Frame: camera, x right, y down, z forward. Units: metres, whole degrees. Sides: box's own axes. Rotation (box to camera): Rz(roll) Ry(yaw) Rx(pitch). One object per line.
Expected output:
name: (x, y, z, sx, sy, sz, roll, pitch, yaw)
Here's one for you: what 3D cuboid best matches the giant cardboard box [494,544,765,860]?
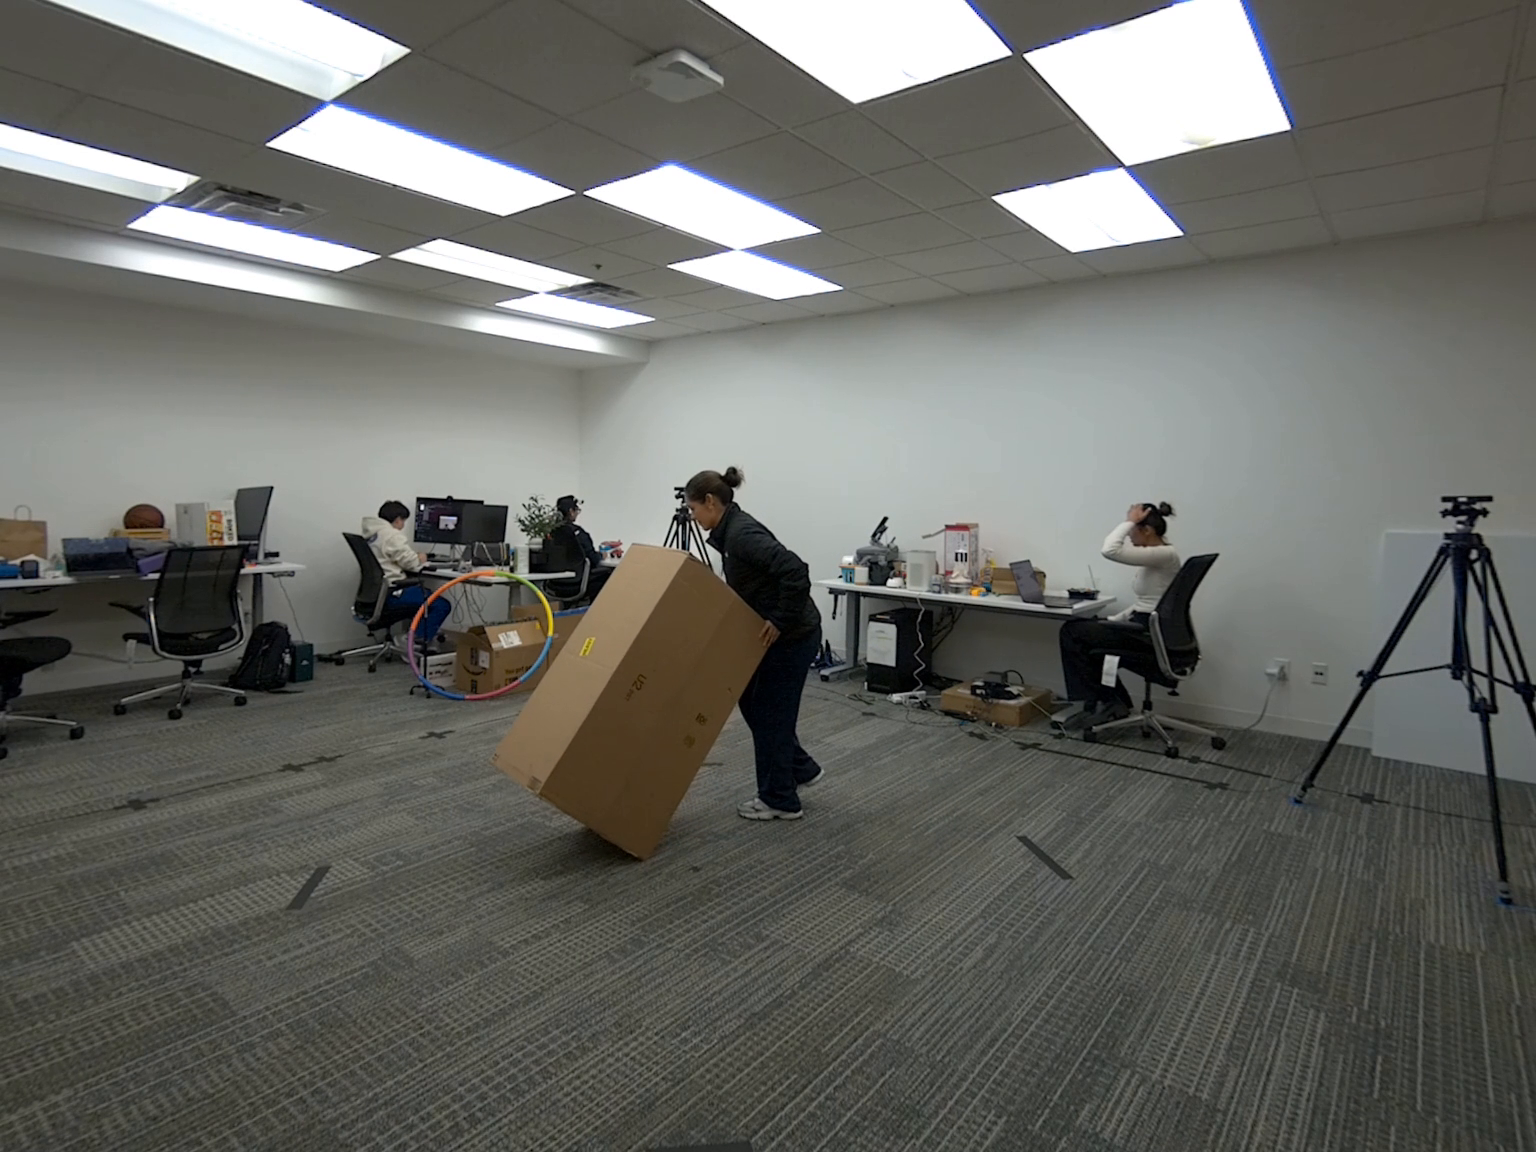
giant cardboard box: (-0.493, 0.461, 3.364, 0.562, 1.032, 0.462, 43, -21, -32)
